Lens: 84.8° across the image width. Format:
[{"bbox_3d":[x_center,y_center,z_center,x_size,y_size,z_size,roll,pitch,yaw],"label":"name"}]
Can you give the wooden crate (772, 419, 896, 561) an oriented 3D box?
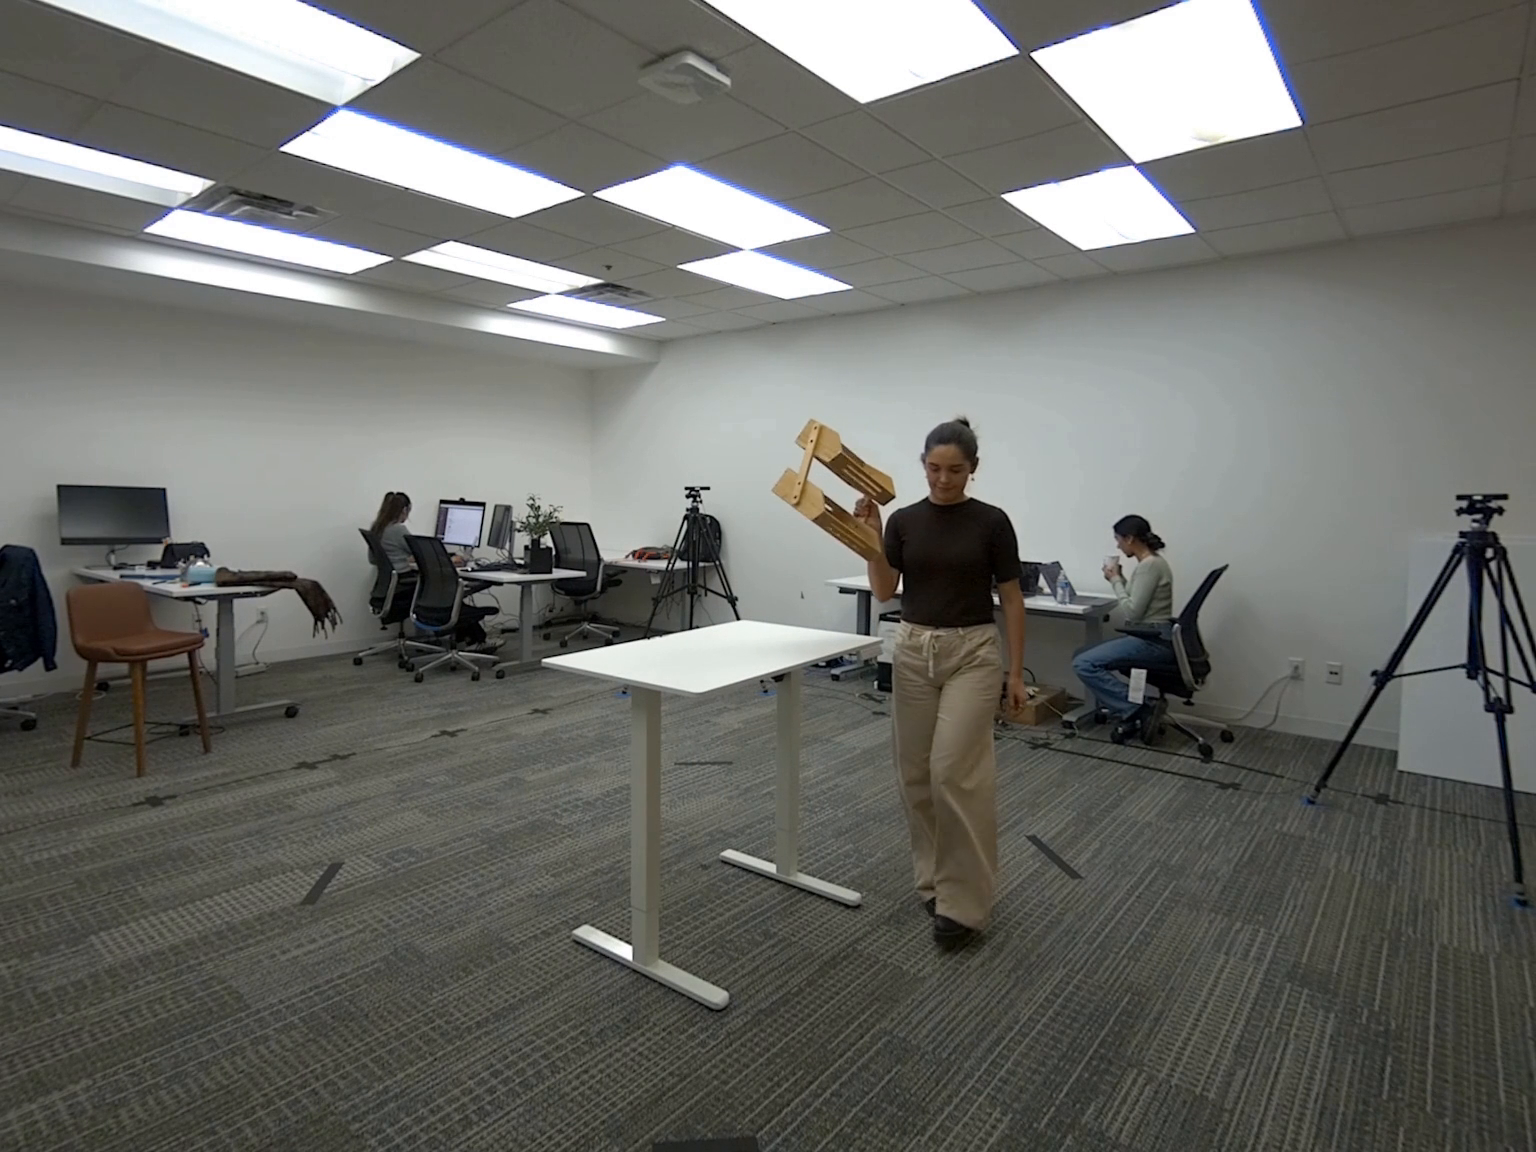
[{"bbox_3d":[0.224,-0.271,2.651,0.311,0.273,0.315,32,6,-40],"label":"wooden crate"}]
